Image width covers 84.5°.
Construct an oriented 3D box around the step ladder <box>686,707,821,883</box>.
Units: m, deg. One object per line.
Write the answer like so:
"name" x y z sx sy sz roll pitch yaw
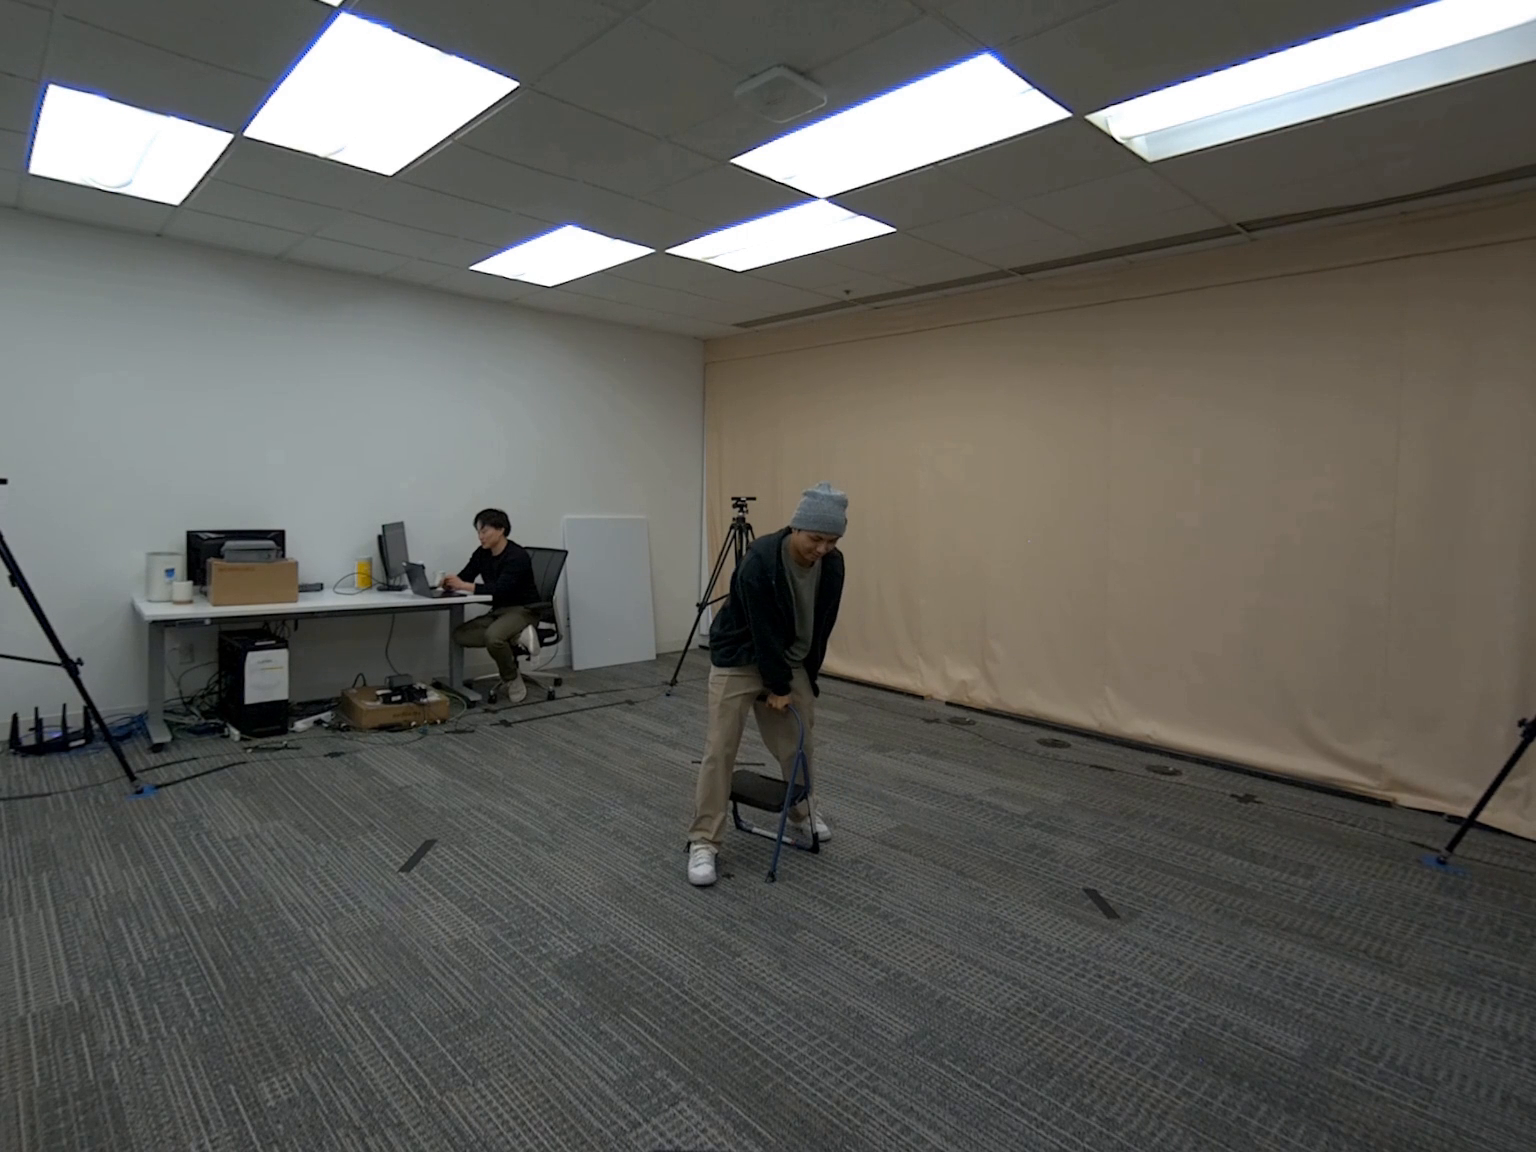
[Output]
"step ladder" -0.057 0.791 3.302 0.441 0.604 0.341 4 4 36
